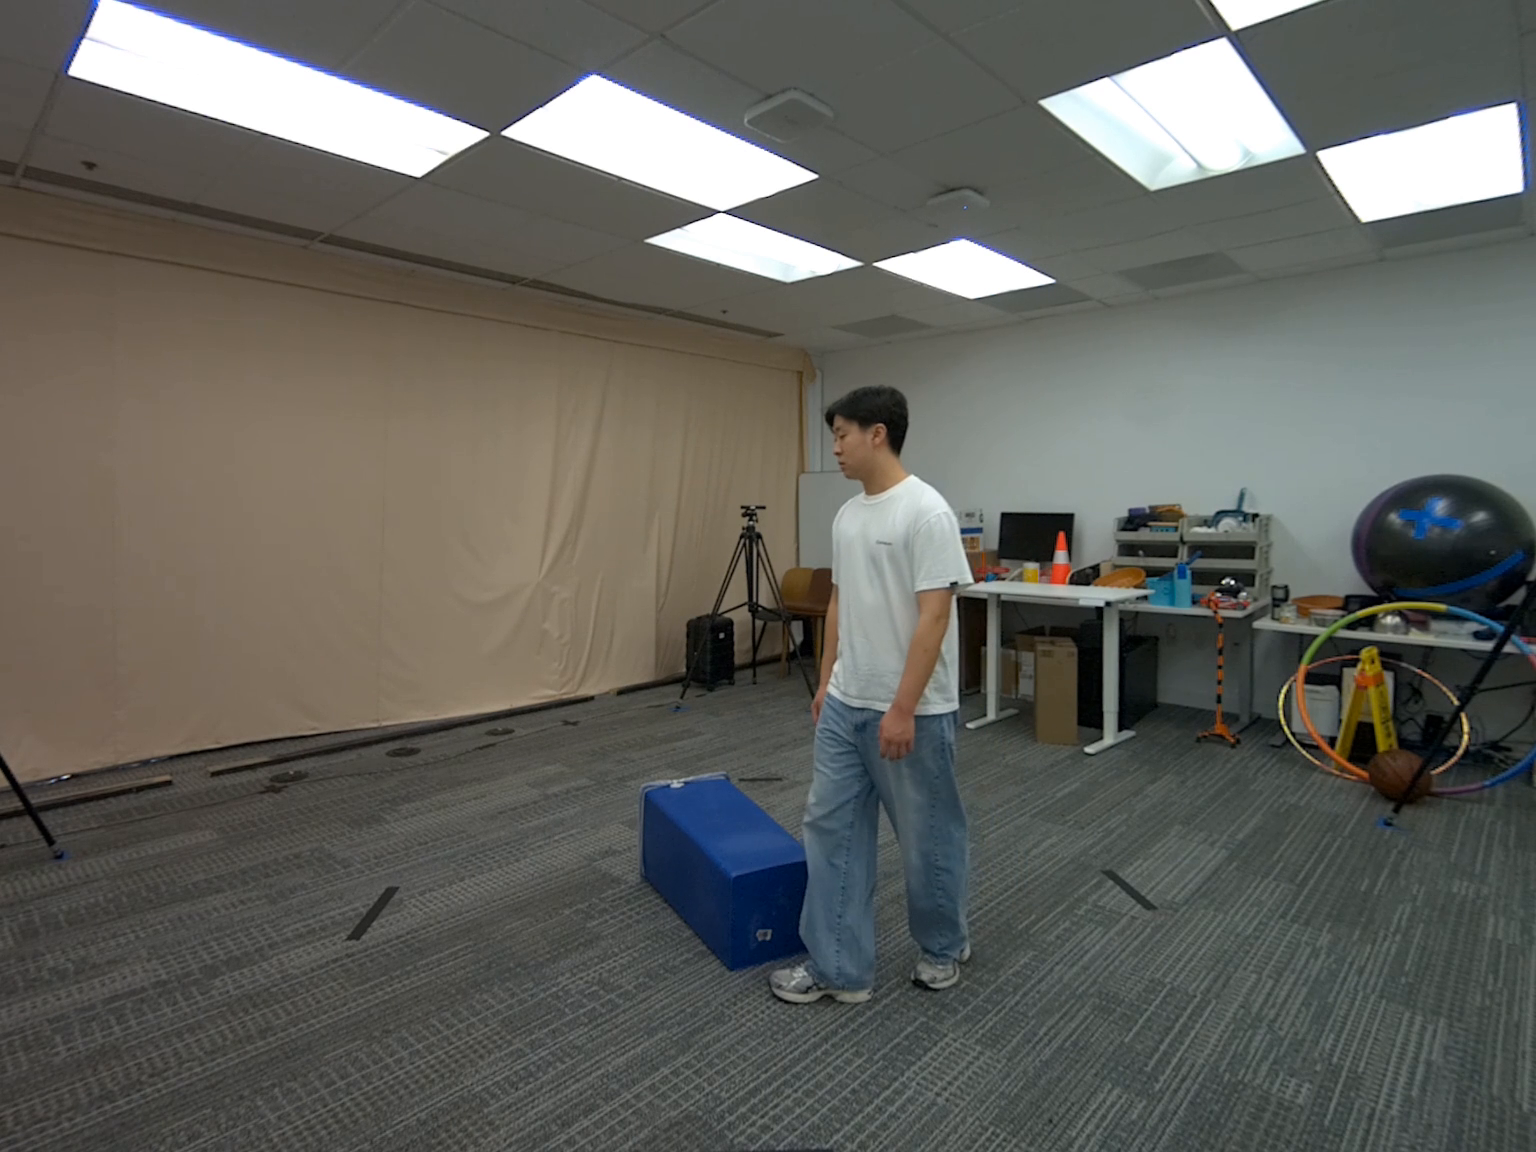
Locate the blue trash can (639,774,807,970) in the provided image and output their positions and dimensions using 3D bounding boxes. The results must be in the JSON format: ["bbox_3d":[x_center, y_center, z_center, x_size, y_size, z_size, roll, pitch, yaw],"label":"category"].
[{"bbox_3d":[-0.145,0.988,2.882,0.364,0.376,0.735,-2,7,-28],"label":"blue trash can"}]
